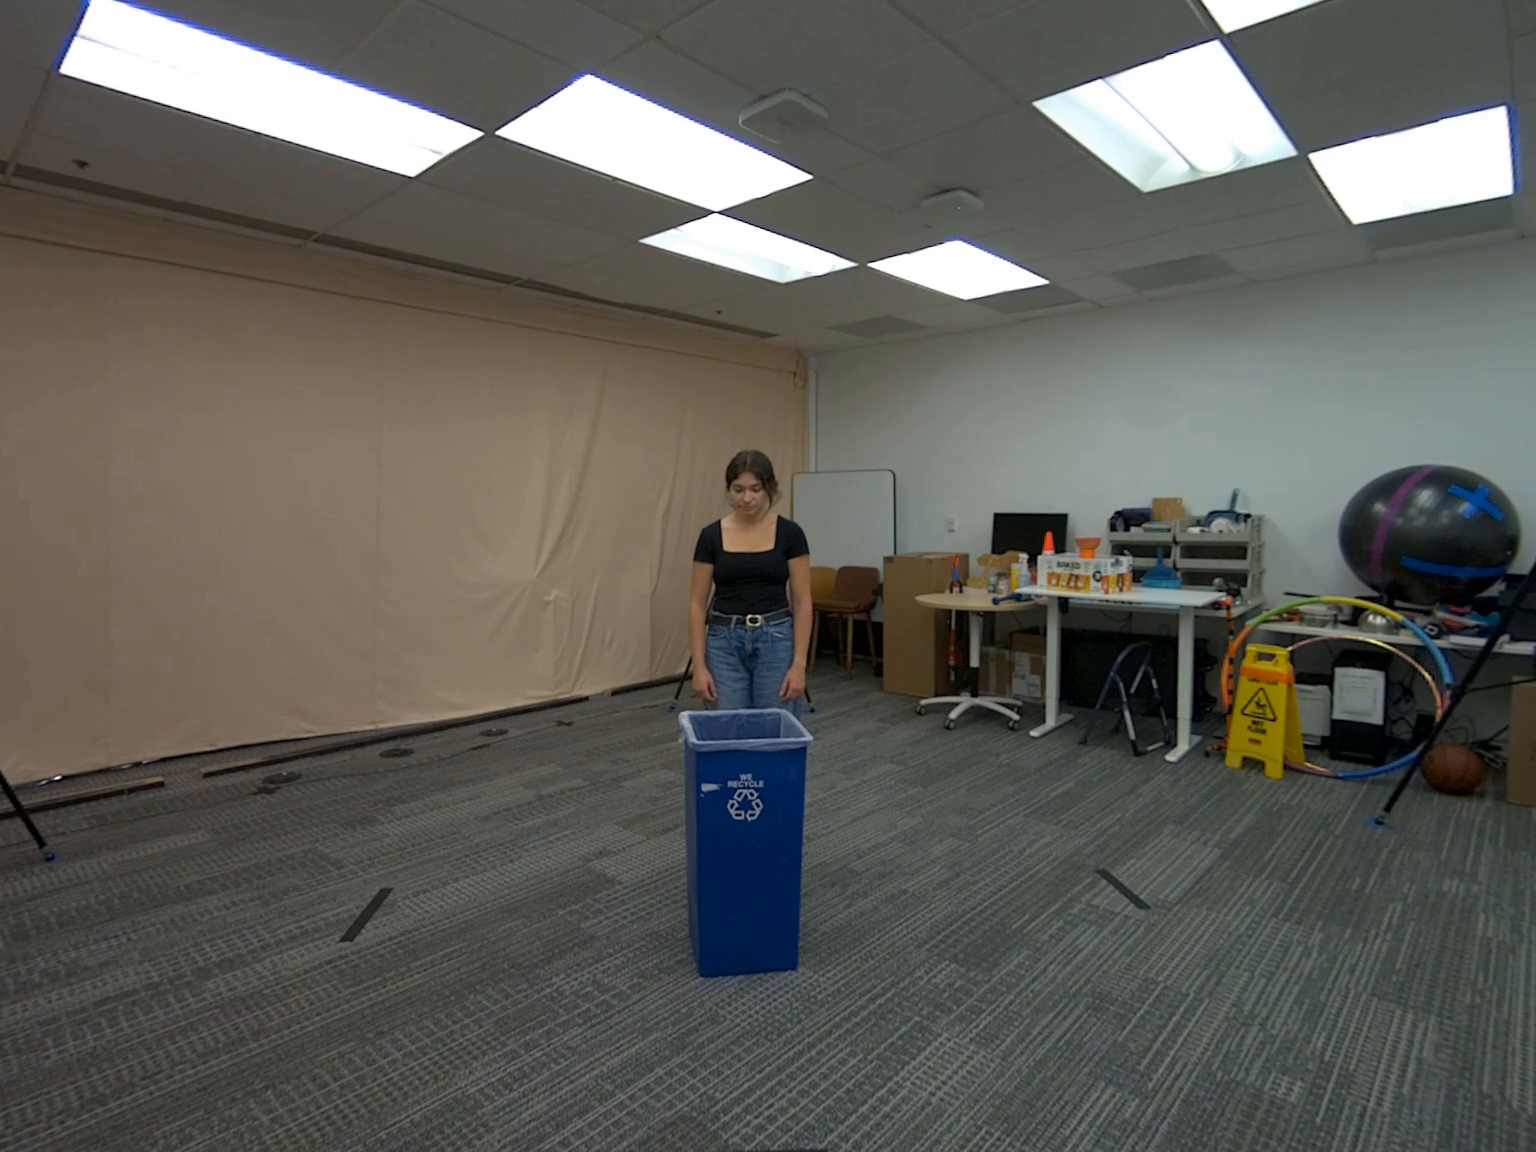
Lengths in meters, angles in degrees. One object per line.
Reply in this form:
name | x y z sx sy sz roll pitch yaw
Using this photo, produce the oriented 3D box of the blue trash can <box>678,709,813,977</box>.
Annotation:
blue trash can | -0.081 0.814 2.639 0.370 0.712 0.383 -1 4 -11
